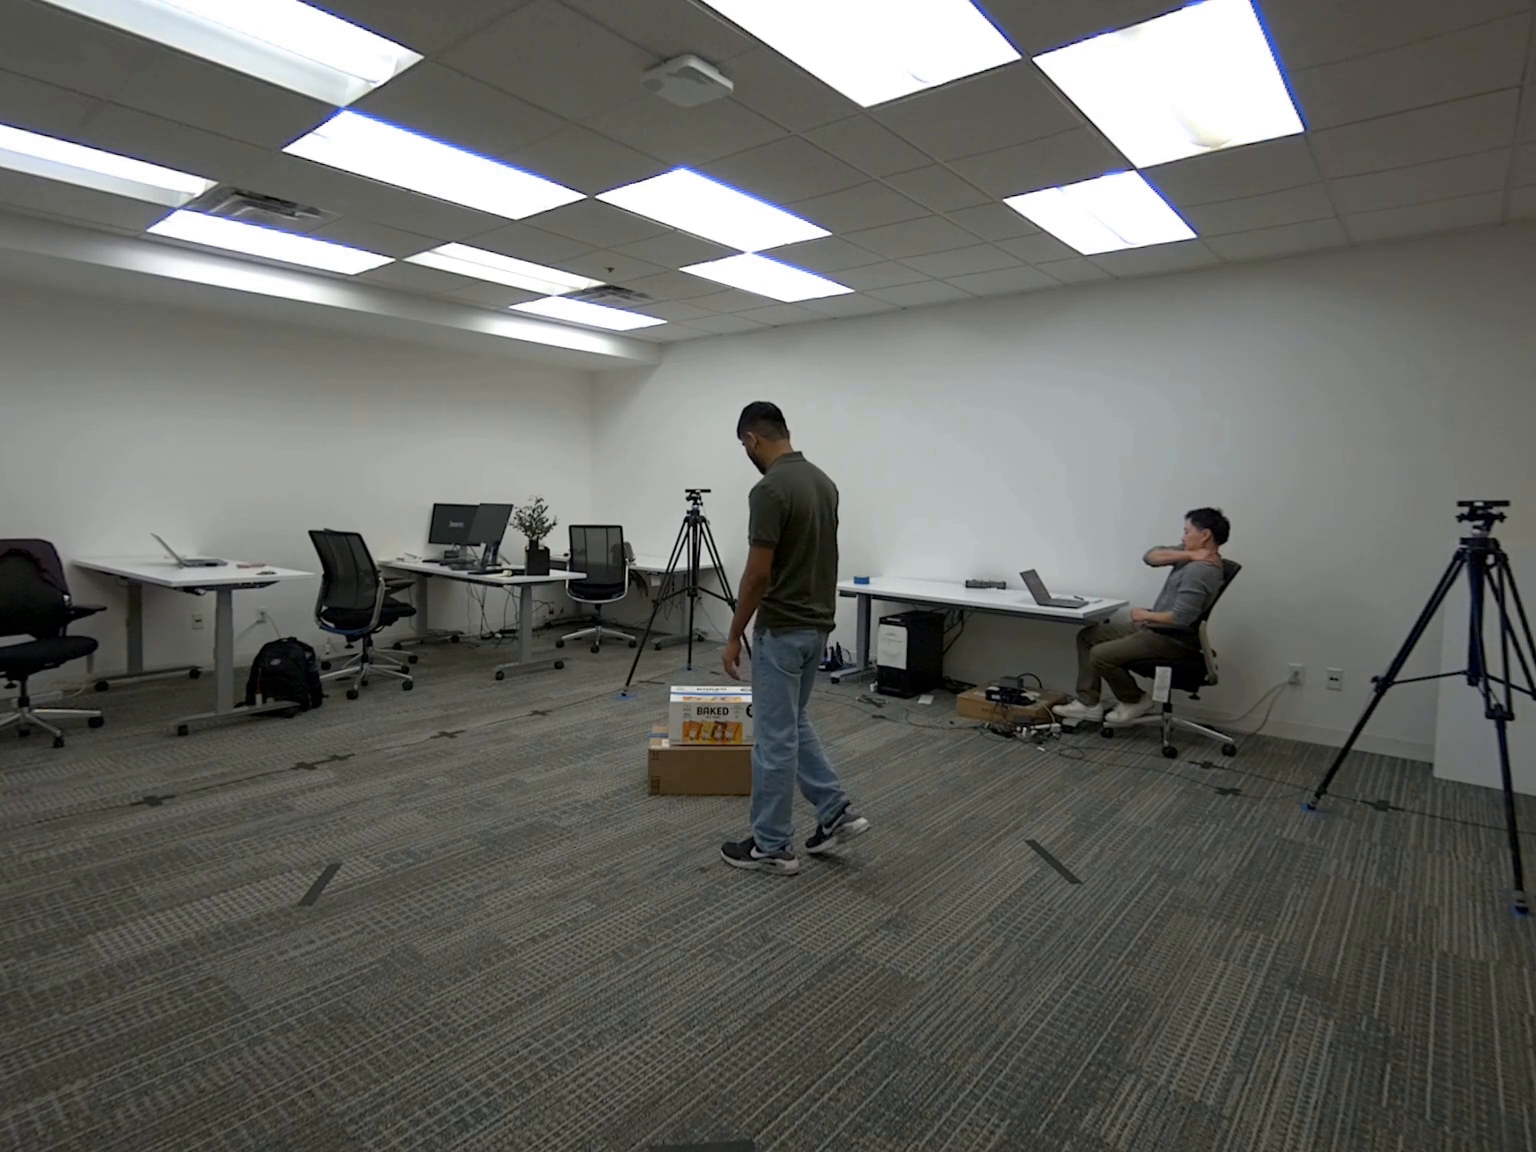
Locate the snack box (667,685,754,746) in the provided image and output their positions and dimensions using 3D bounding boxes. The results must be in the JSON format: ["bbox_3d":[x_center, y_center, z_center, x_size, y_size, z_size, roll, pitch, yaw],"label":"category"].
[{"bbox_3d":[-0.280,0.660,4.081,0.404,0.205,0.343,1,4,-4],"label":"snack box"}]
